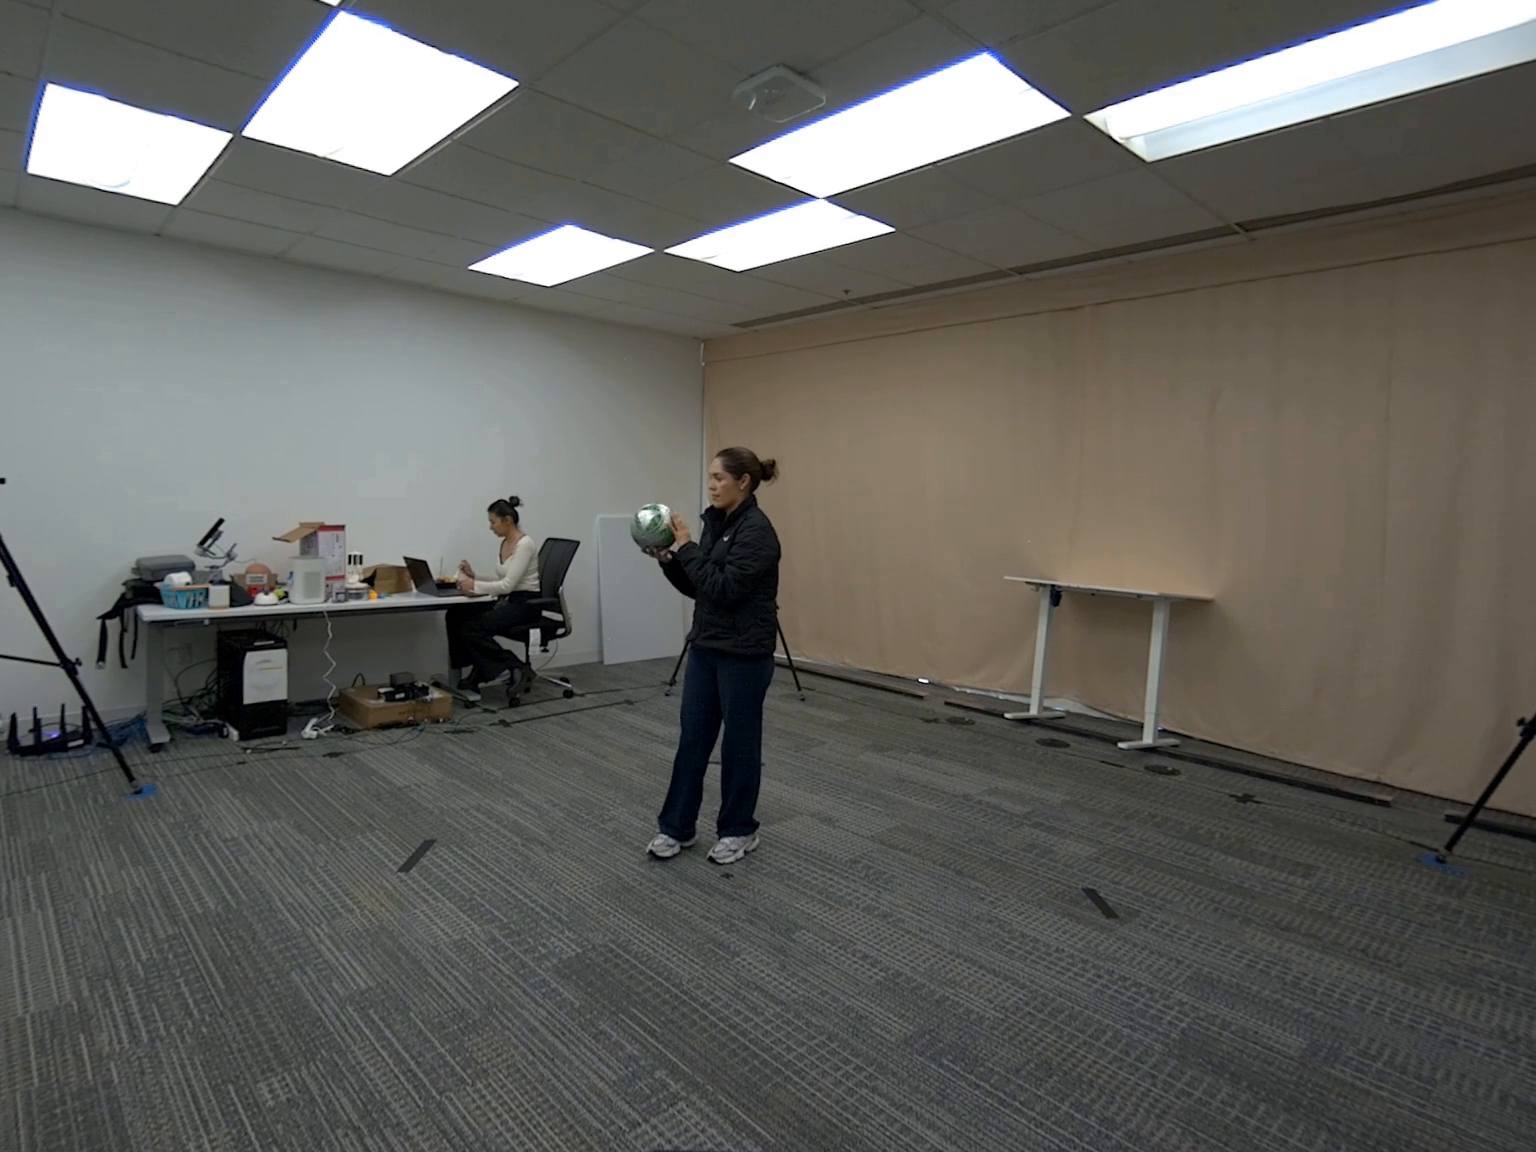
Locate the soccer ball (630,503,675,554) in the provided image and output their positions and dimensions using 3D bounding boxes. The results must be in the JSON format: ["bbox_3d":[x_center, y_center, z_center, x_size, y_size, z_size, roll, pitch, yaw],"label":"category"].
[{"bbox_3d":[-0.425,-0.189,3.206,0.187,0.187,0.188,1,4,-1],"label":"soccer ball"}]
